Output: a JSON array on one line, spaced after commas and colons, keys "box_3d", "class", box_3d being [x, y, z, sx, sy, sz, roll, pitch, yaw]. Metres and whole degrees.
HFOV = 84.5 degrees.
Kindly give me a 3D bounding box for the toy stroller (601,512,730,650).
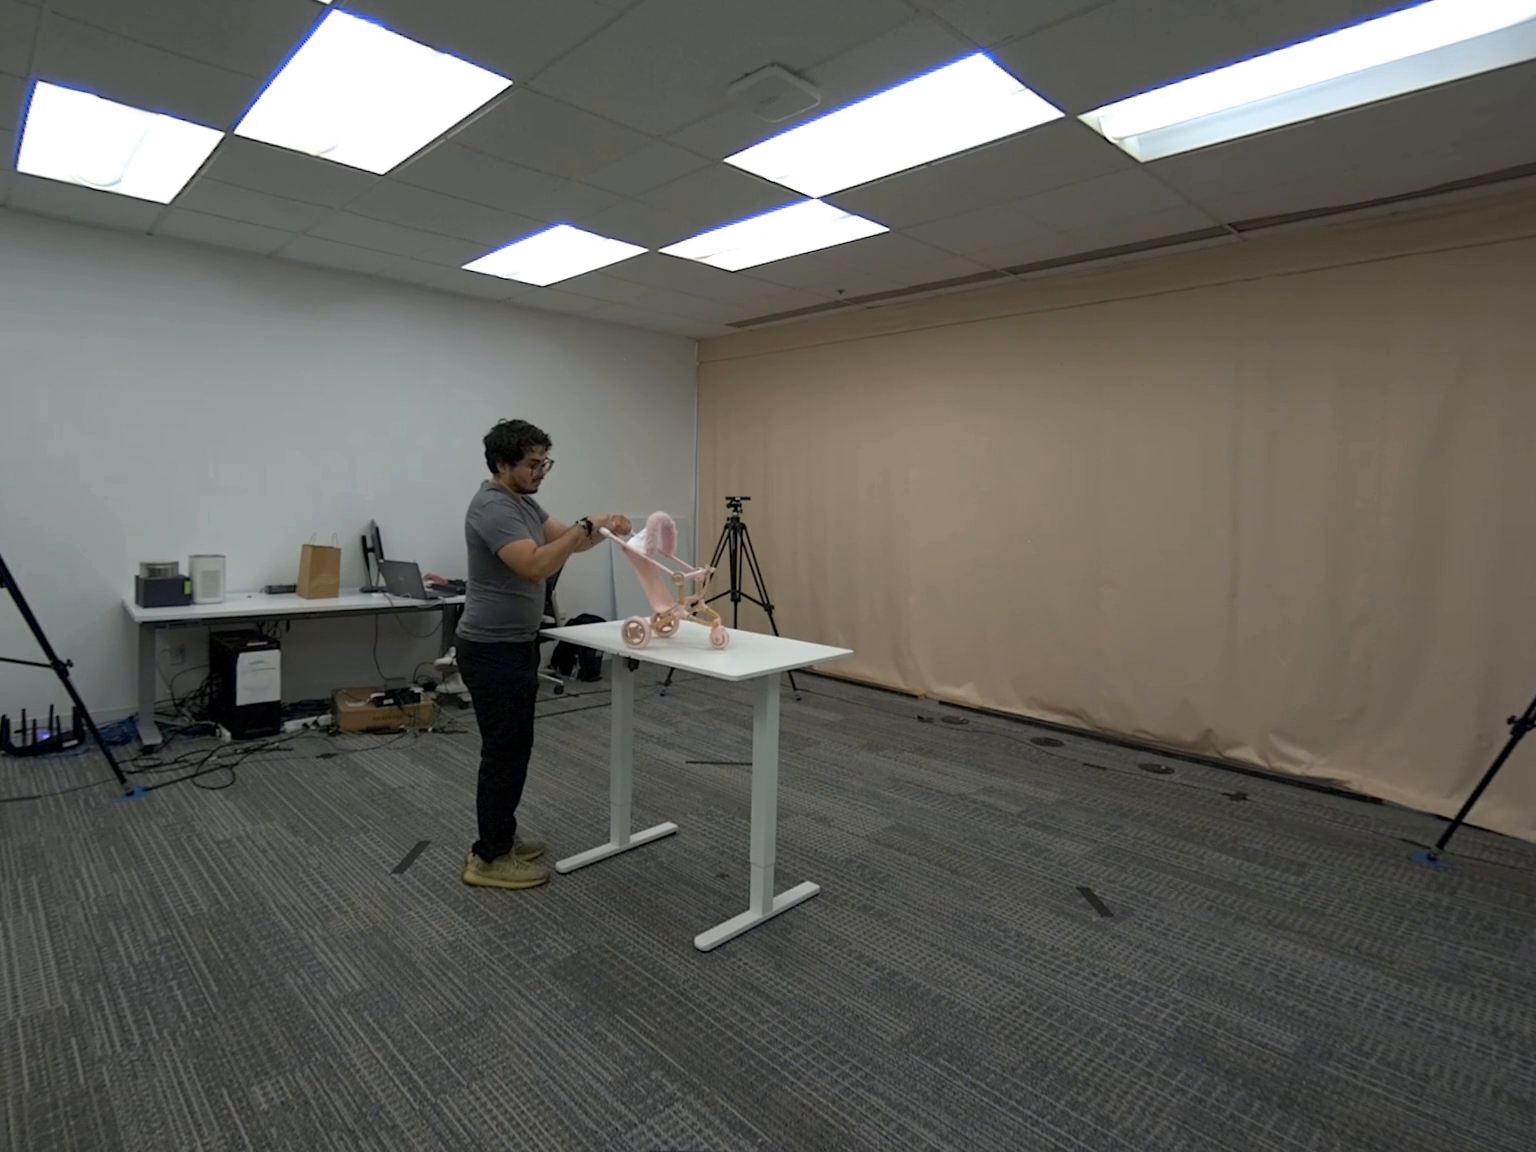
[{"box_3d": [-0.359, 0.018, 2.892, 0.345, 0.536, 0.277, -16, -3, 22], "class": "toy stroller"}]
